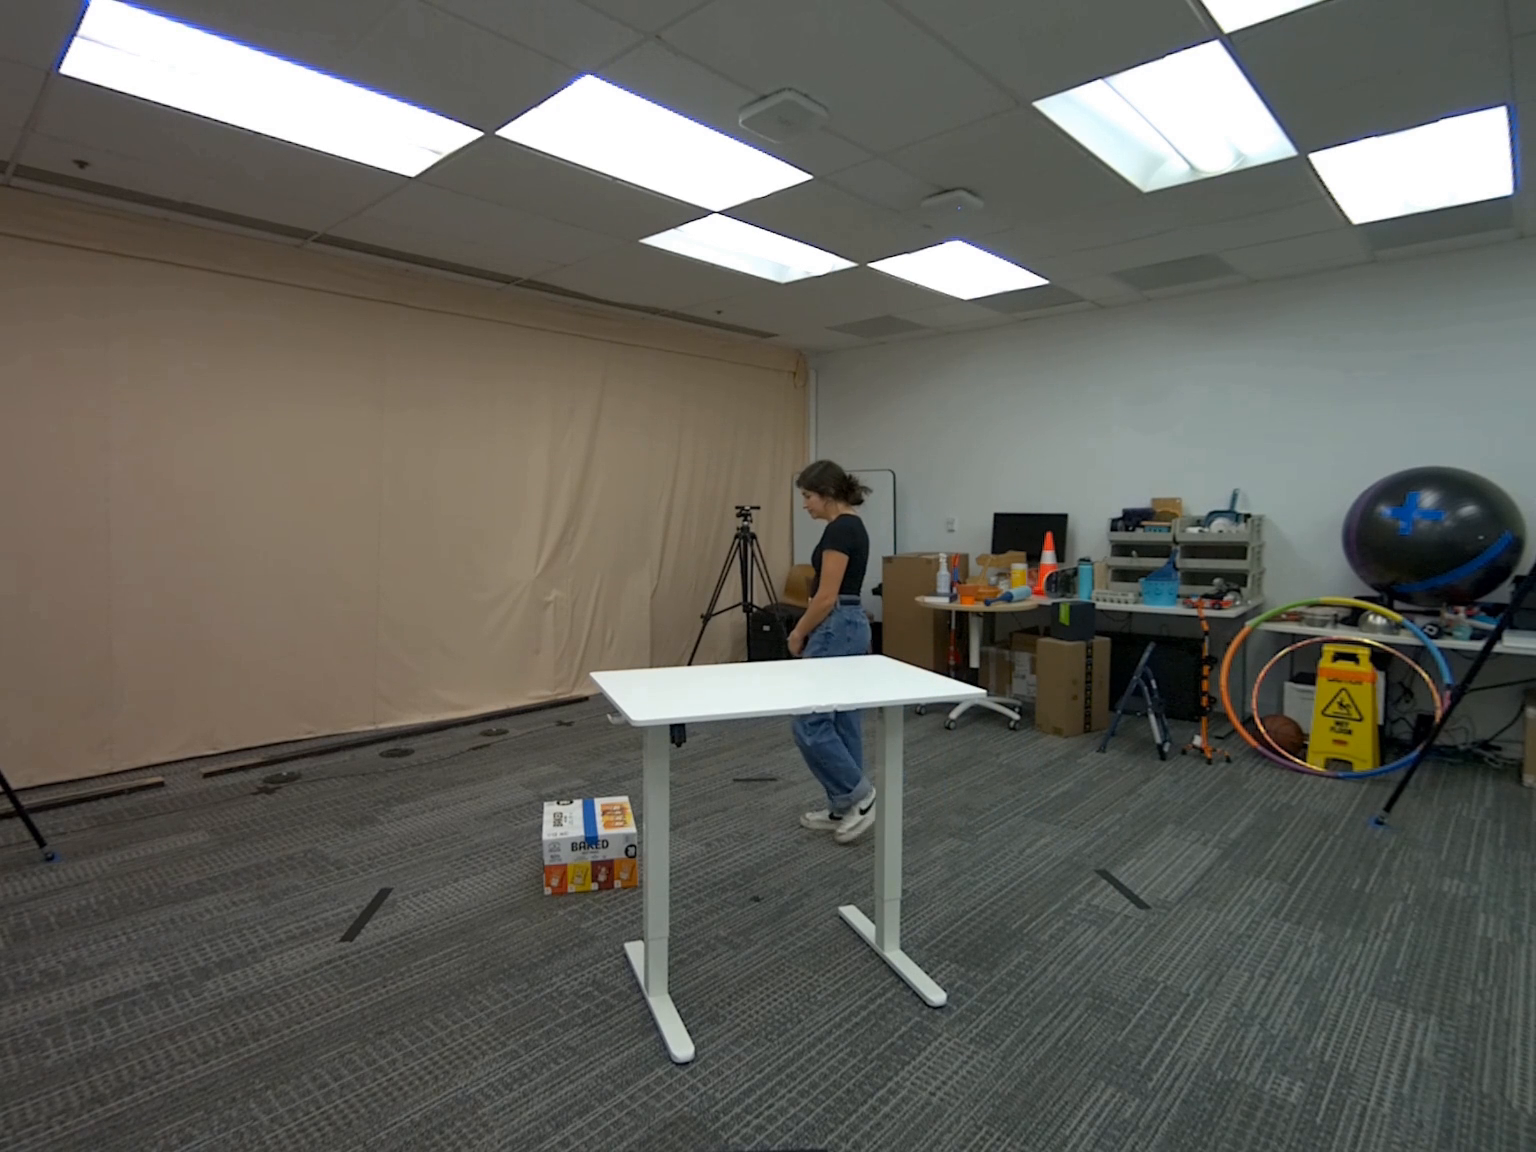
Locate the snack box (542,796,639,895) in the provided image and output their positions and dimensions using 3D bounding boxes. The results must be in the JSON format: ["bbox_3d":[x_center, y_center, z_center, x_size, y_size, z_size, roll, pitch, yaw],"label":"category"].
[{"bbox_3d":[-0.695,1.027,3.244,0.336,0.205,0.411,-1,4,-13],"label":"snack box"}]
